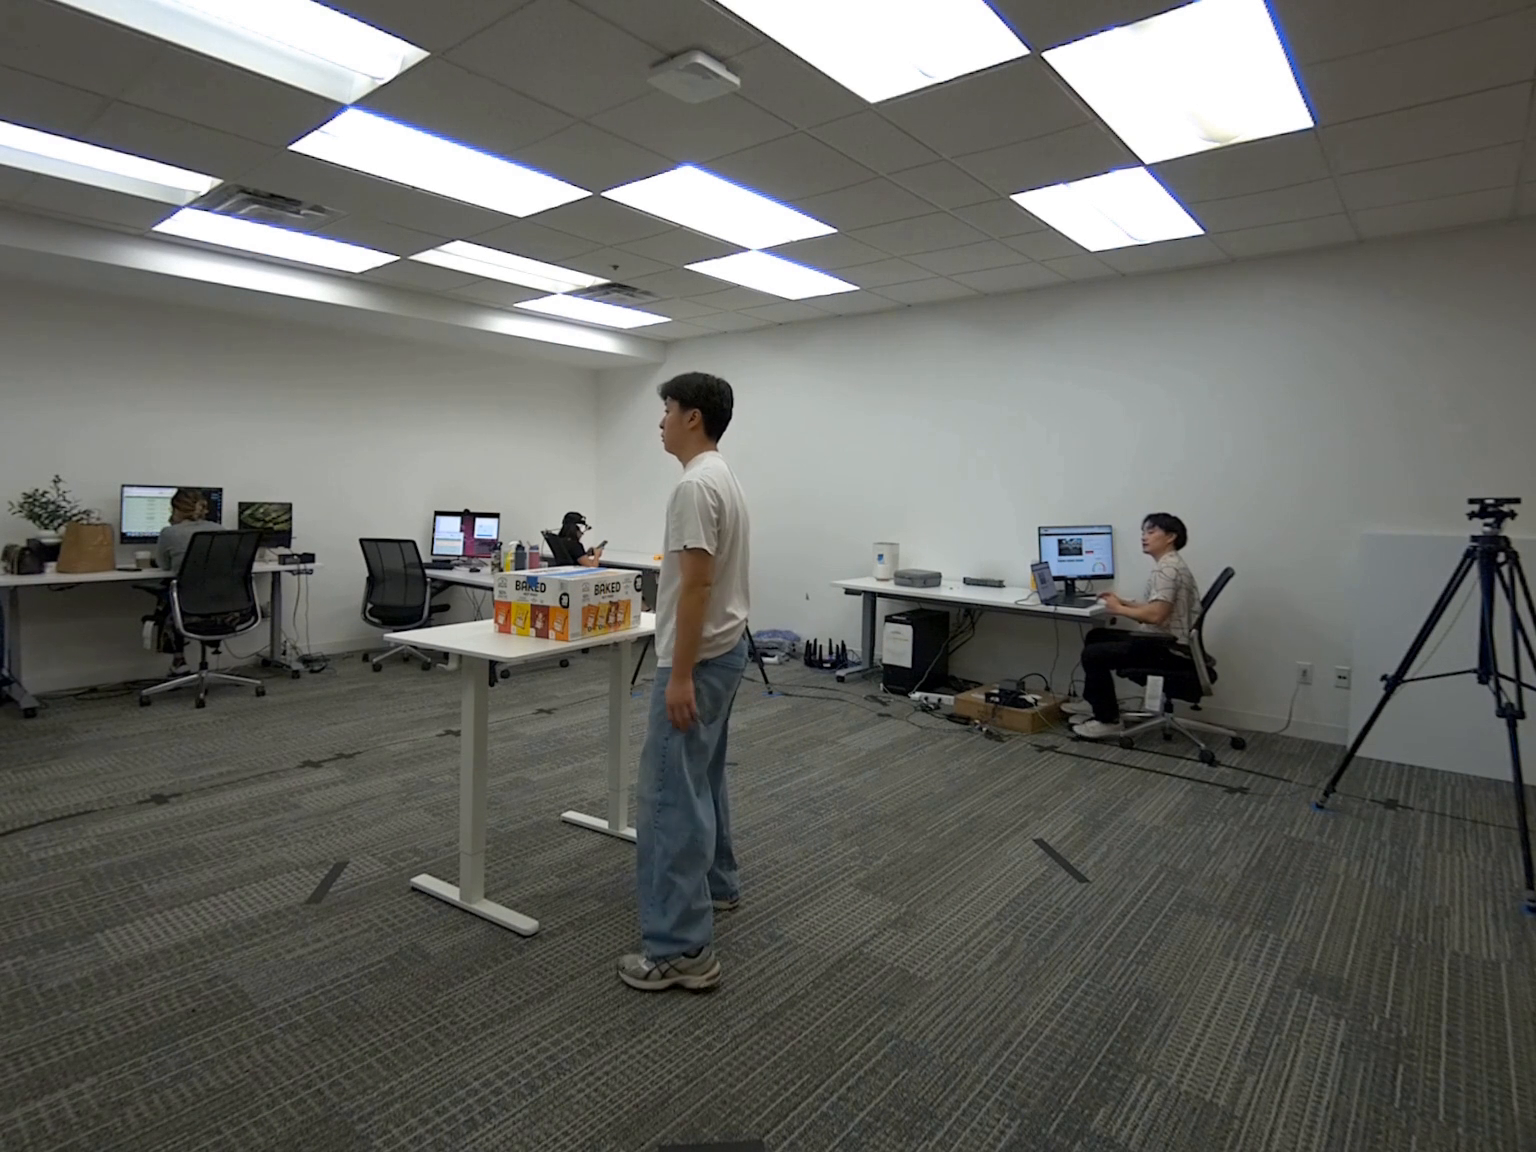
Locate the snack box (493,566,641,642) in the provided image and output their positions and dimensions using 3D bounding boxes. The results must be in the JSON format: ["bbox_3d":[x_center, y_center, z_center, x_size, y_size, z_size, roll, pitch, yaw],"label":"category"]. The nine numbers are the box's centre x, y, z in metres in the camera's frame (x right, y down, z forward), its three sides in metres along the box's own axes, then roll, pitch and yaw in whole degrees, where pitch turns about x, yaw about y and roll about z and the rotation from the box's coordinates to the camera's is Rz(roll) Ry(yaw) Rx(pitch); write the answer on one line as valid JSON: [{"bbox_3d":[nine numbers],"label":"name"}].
[{"bbox_3d":[-0.711,0.086,2.999,0.350,0.205,0.395,4,6,28],"label":"snack box"}]
